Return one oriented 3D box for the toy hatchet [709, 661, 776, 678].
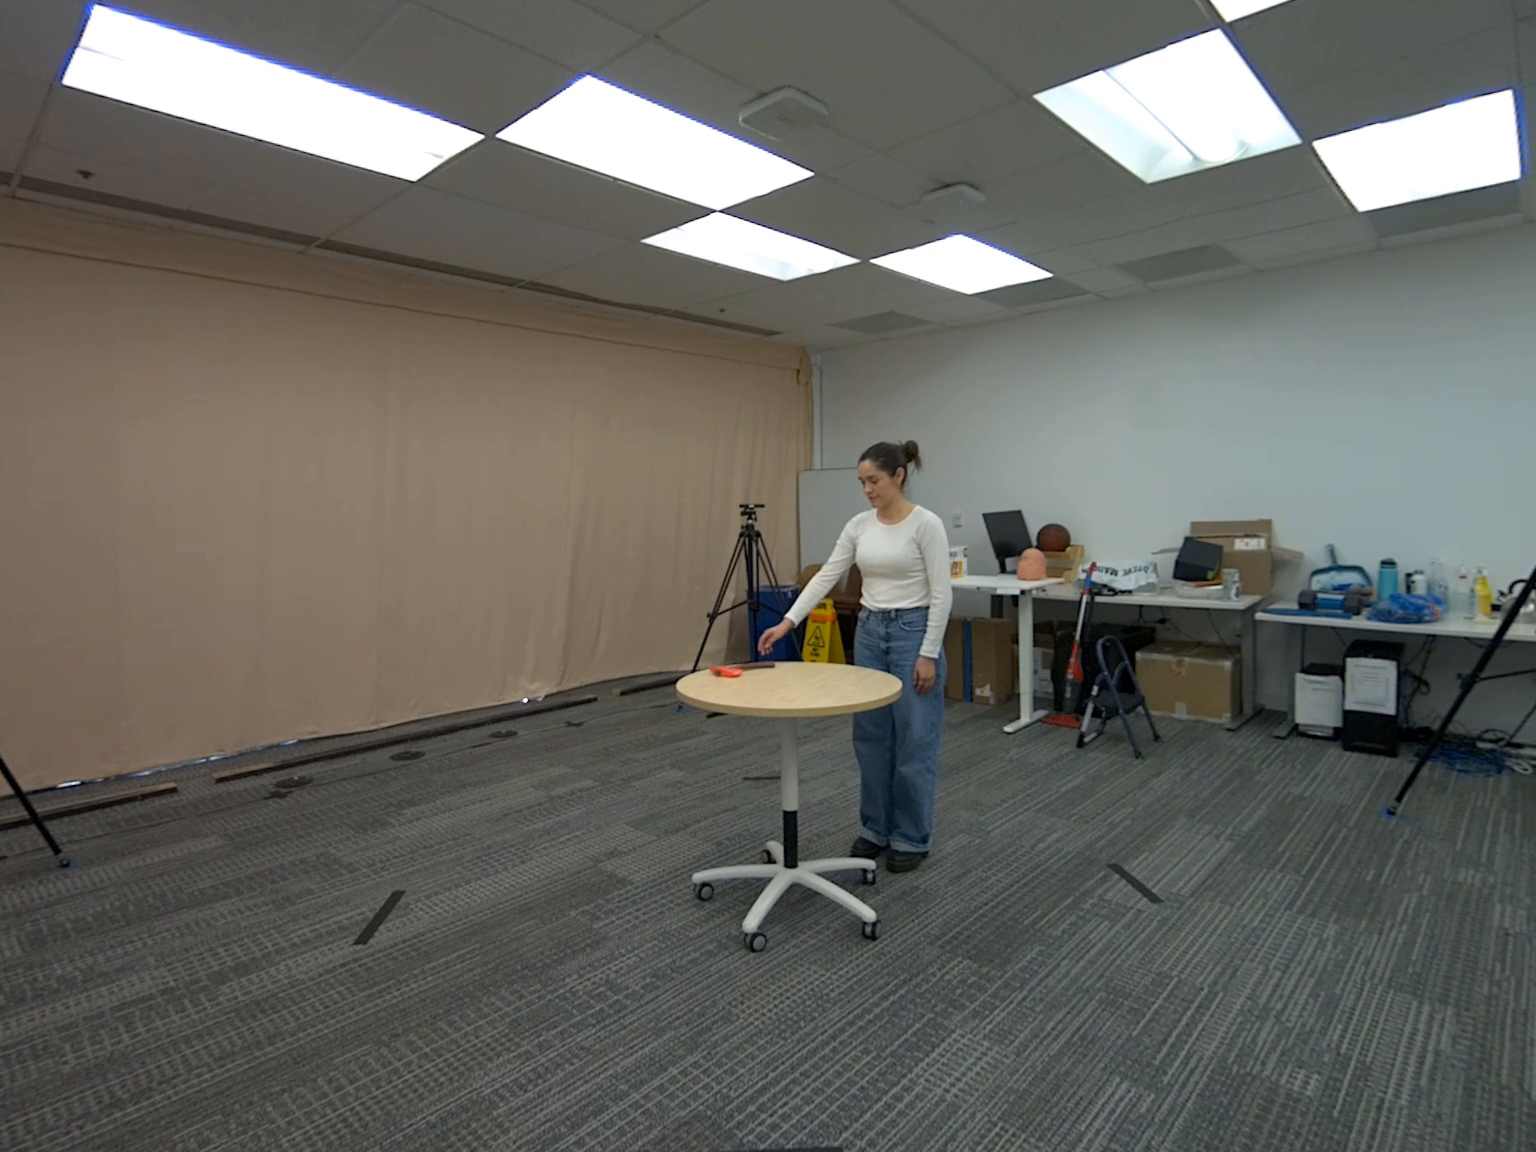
[{"bbox_3d":[-0.071,0.345,3.063,0.263,0.029,0.135,-2,6,-27],"label":"toy hatchet"}]
